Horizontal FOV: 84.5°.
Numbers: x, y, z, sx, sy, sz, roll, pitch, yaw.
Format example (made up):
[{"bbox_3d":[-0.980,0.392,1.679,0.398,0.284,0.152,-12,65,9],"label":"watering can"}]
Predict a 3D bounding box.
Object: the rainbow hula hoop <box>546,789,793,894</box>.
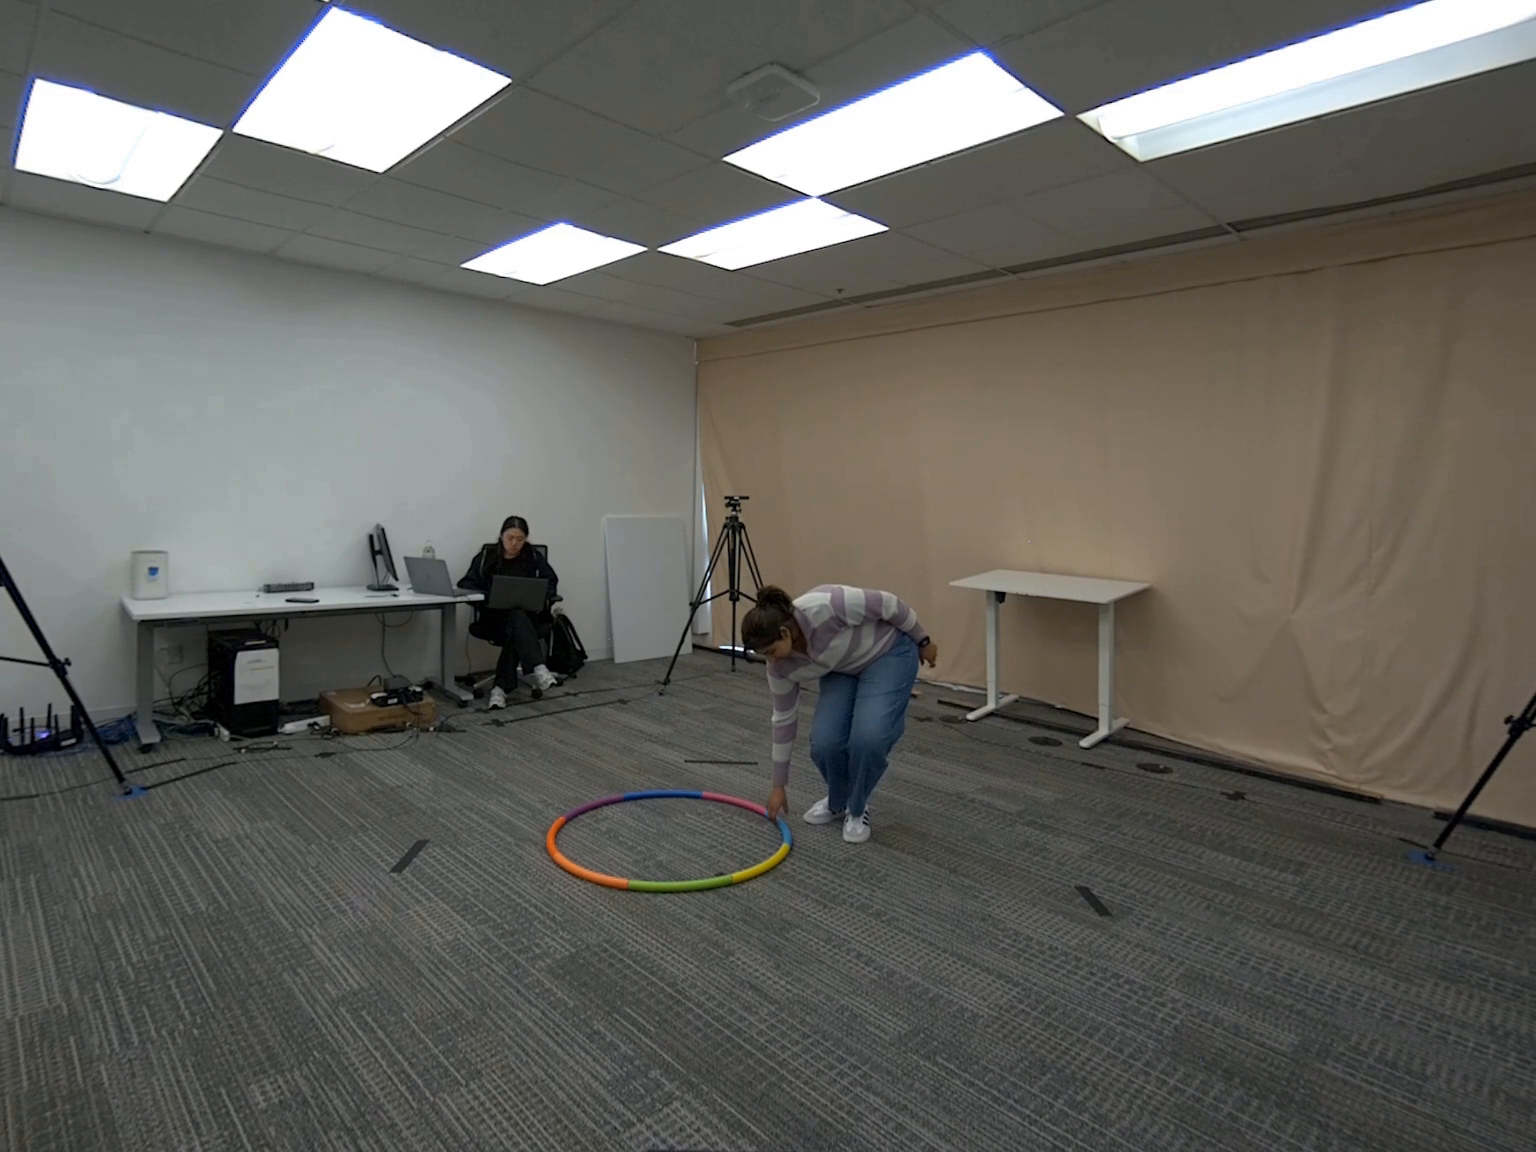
[{"bbox_3d":[-0.401,1.041,3.430,0.985,0.051,0.989,1,5,-1],"label":"rainbow hula hoop"}]
